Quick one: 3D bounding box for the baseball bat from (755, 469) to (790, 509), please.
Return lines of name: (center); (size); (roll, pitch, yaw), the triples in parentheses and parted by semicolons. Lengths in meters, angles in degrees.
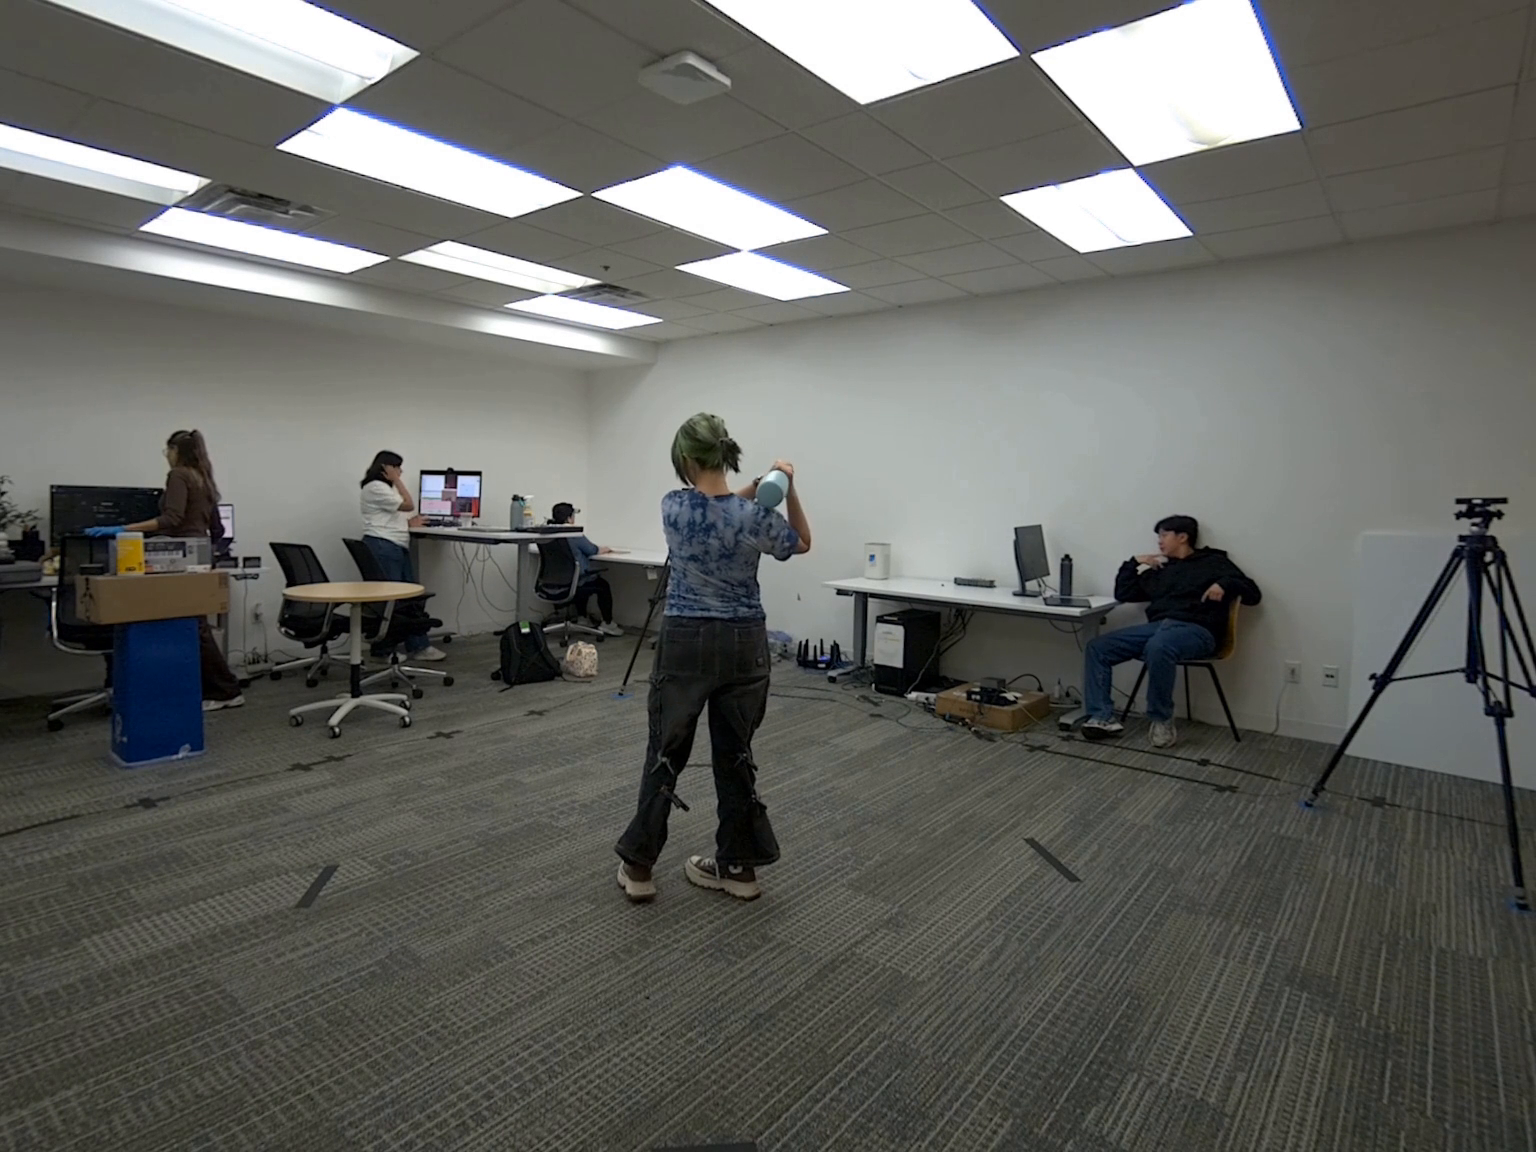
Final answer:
baseball bat: (0.011, -0.312, 2.779); (0.089, 0.088, 0.548); (1, 16, 2)
